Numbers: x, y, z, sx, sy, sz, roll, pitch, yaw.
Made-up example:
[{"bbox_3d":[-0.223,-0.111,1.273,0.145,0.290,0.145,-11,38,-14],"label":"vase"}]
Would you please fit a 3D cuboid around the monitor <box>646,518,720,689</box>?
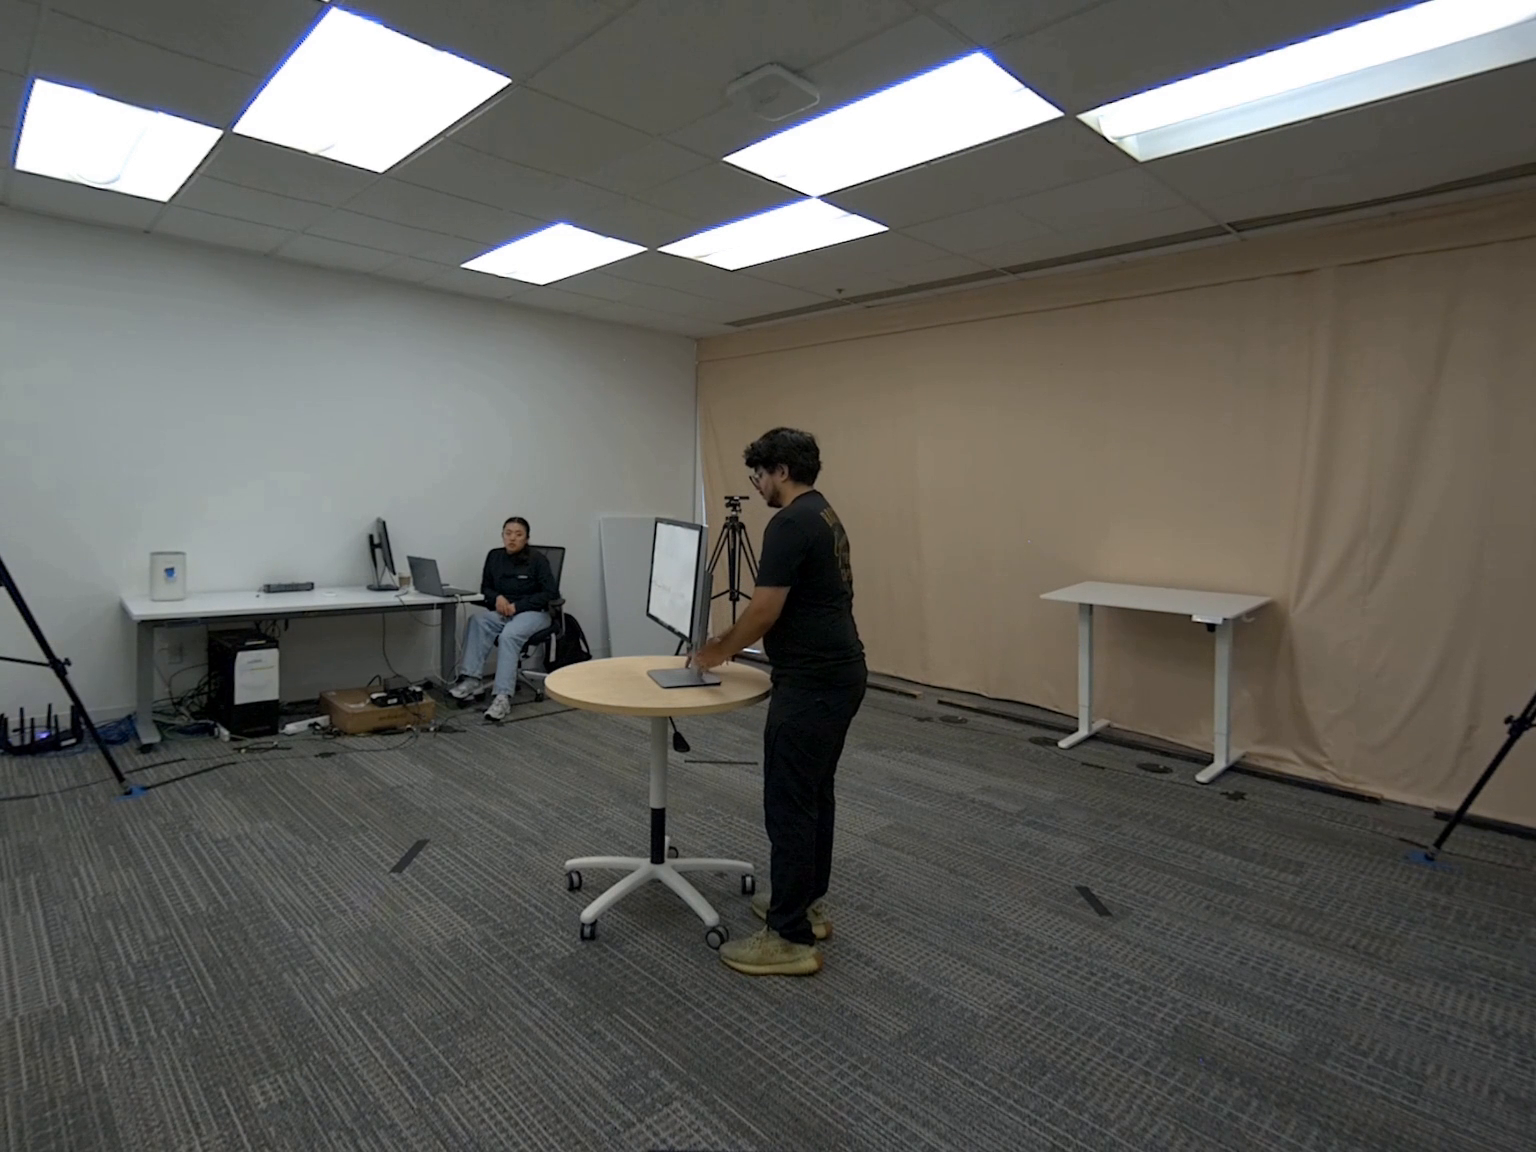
[{"bbox_3d":[-0.259,0.085,2.828,0.207,0.553,0.576,2,4,-21],"label":"monitor"}]
